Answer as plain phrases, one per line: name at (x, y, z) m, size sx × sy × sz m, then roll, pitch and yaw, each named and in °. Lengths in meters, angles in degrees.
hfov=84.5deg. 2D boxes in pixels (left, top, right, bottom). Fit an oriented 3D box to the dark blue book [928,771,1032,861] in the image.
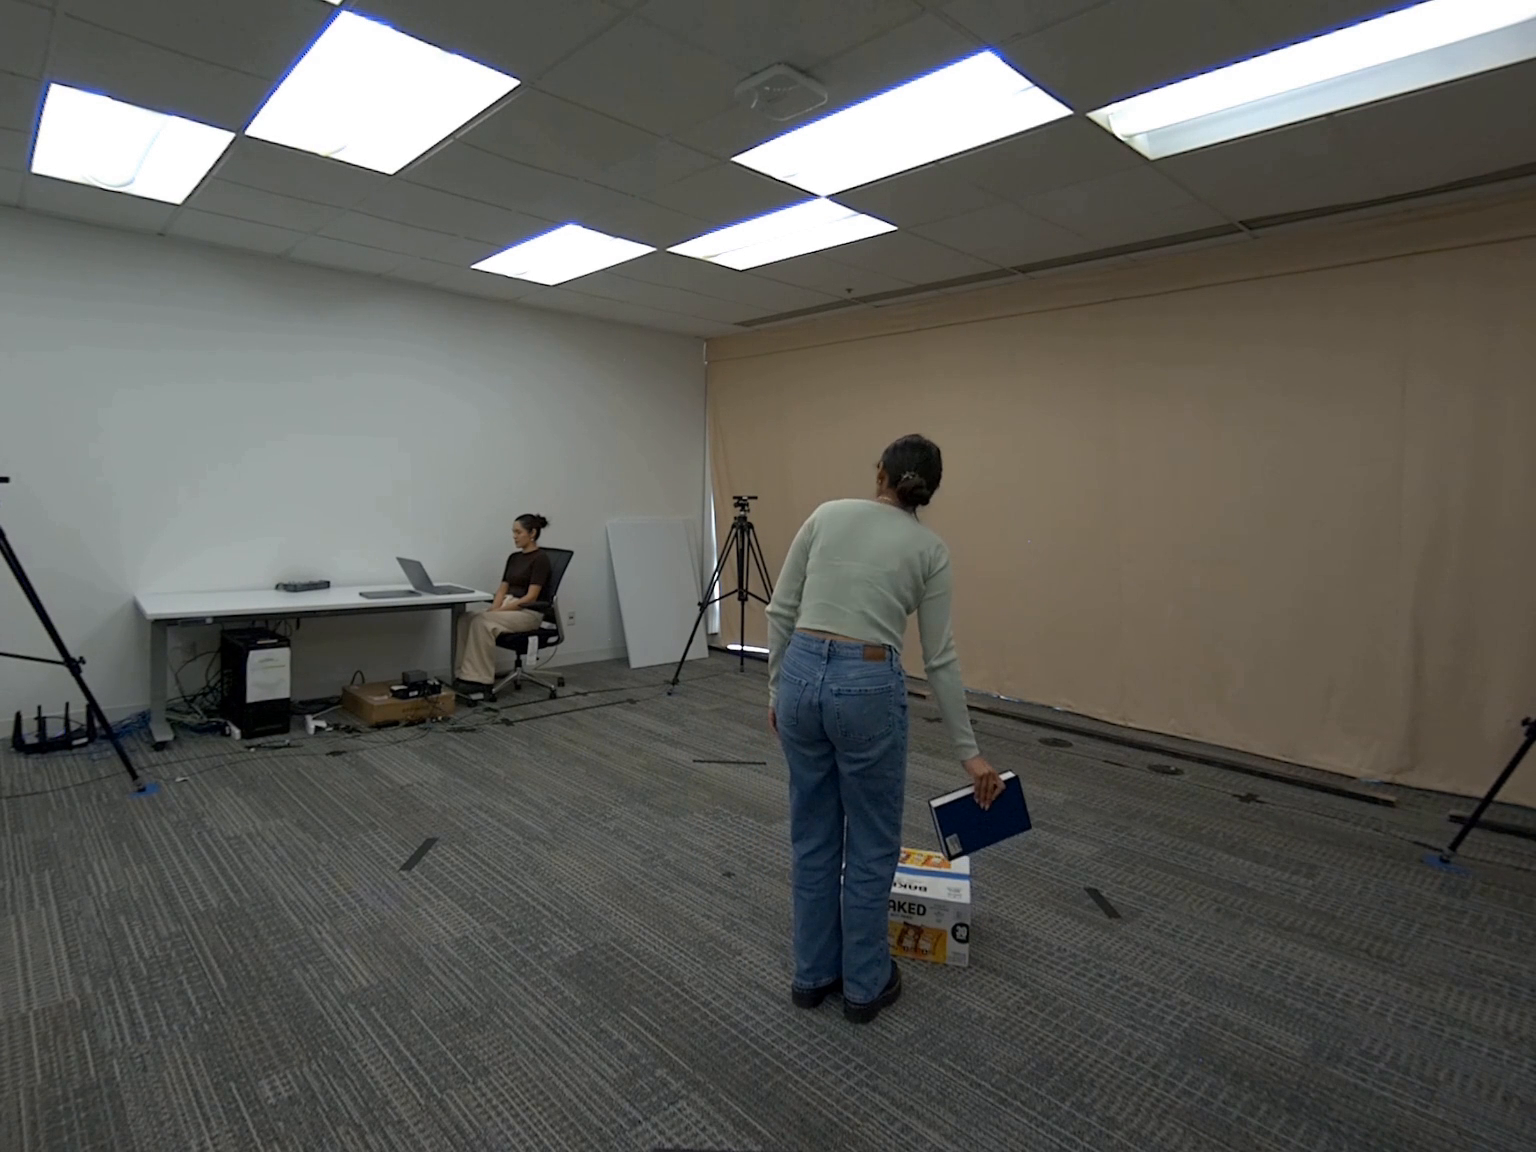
dark blue book at (0.550, 0.630, 2.207) m, size 0.244 × 0.162 × 0.045 m, roll -15°, pitch 7°, yaw -5°
